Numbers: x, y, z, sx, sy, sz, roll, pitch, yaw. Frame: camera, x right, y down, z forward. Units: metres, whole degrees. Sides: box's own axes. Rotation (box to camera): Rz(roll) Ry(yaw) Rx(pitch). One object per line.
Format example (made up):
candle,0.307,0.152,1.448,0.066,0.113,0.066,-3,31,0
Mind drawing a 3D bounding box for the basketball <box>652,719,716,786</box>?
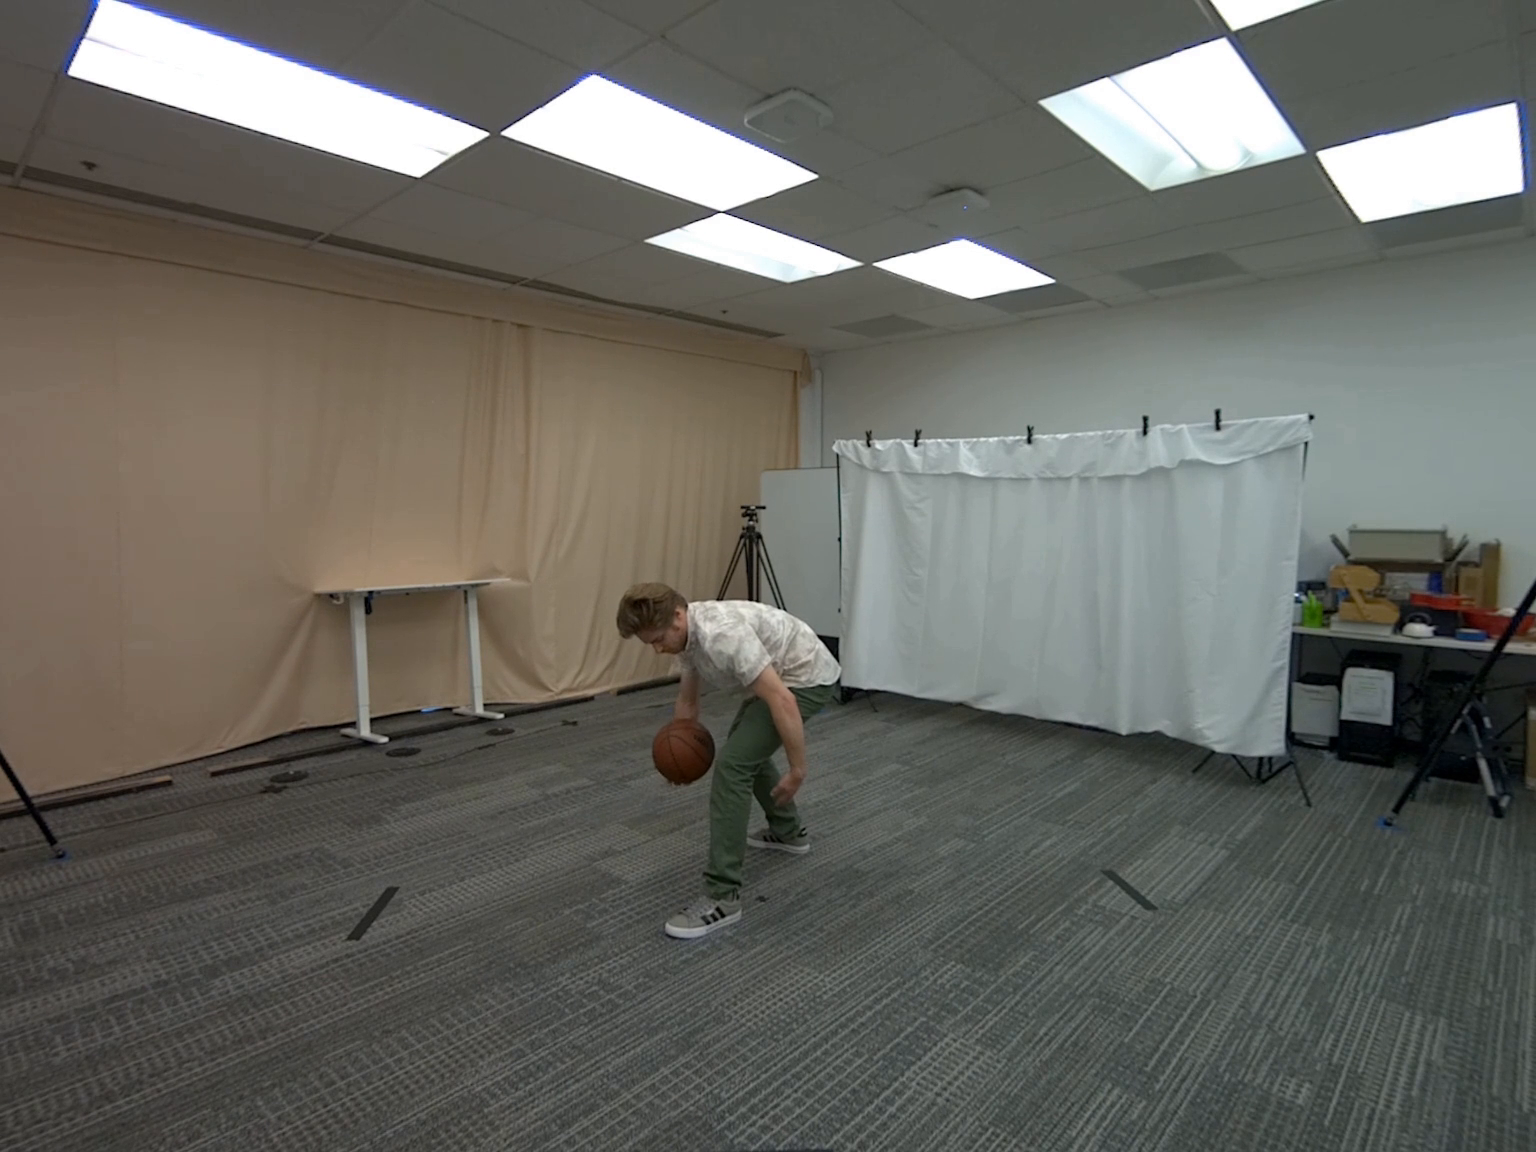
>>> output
basketball,-0.323,0.672,3.179,0.236,0.235,0.237,0,4,-2
